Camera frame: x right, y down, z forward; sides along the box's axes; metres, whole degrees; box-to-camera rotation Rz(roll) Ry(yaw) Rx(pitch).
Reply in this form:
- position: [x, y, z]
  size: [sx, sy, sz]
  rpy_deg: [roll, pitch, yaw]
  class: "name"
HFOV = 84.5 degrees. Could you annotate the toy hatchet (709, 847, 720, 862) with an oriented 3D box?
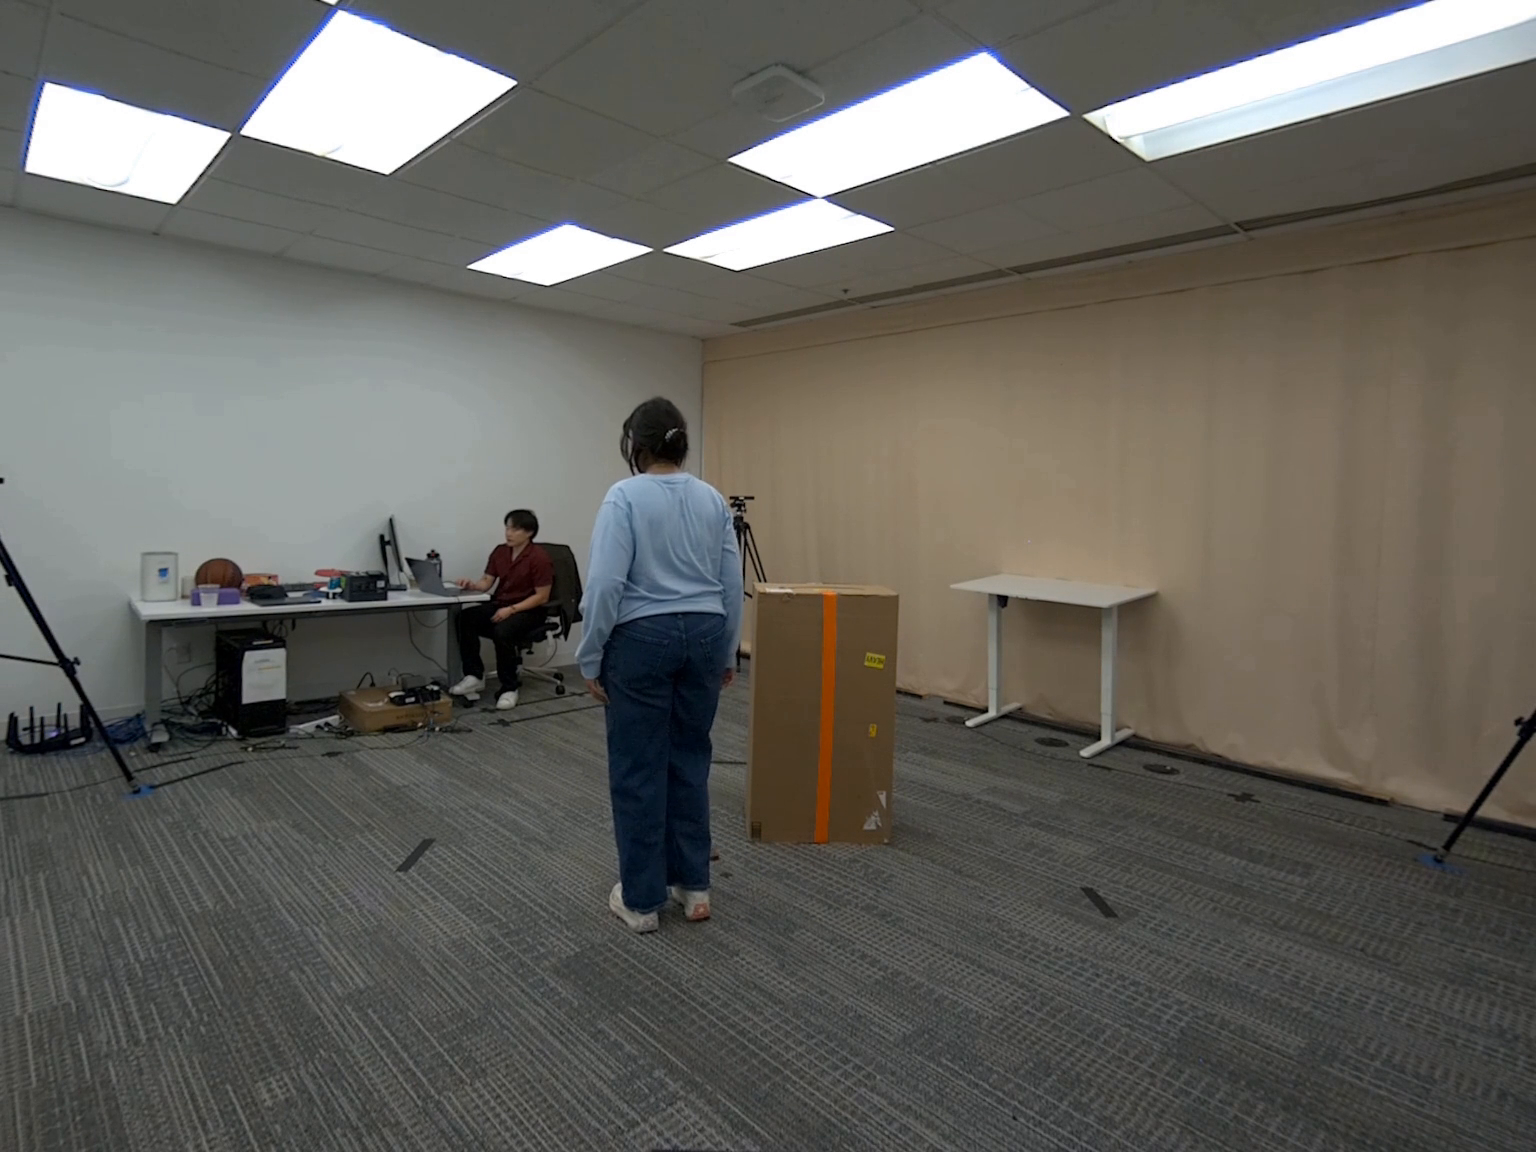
- position: [-0.311, 1.070, 3.329]
  size: [0.128, 0.029, 0.276]
  rpy_deg: [-3, 8, -27]
  class: "toy hatchet"
